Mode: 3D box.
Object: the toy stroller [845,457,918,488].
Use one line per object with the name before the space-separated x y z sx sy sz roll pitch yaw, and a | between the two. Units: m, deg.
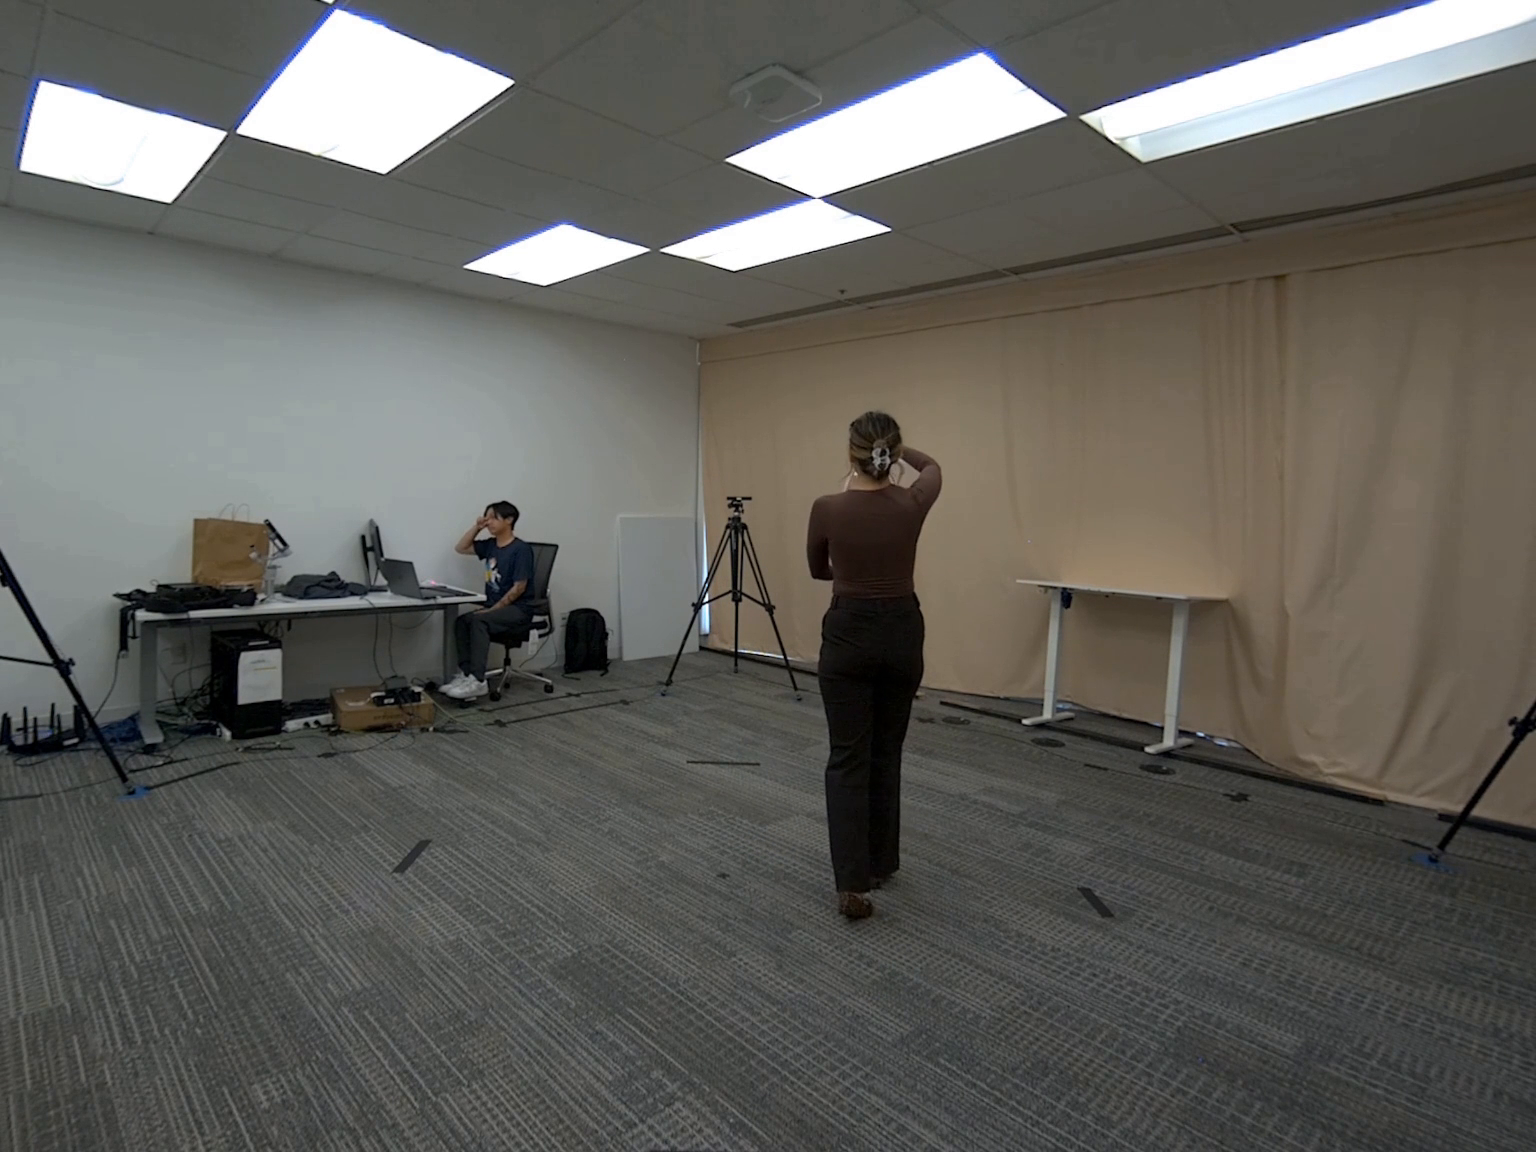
toy stroller | 0.403 -0.234 3.570 0.282 0.535 0.341 13 -1 0
